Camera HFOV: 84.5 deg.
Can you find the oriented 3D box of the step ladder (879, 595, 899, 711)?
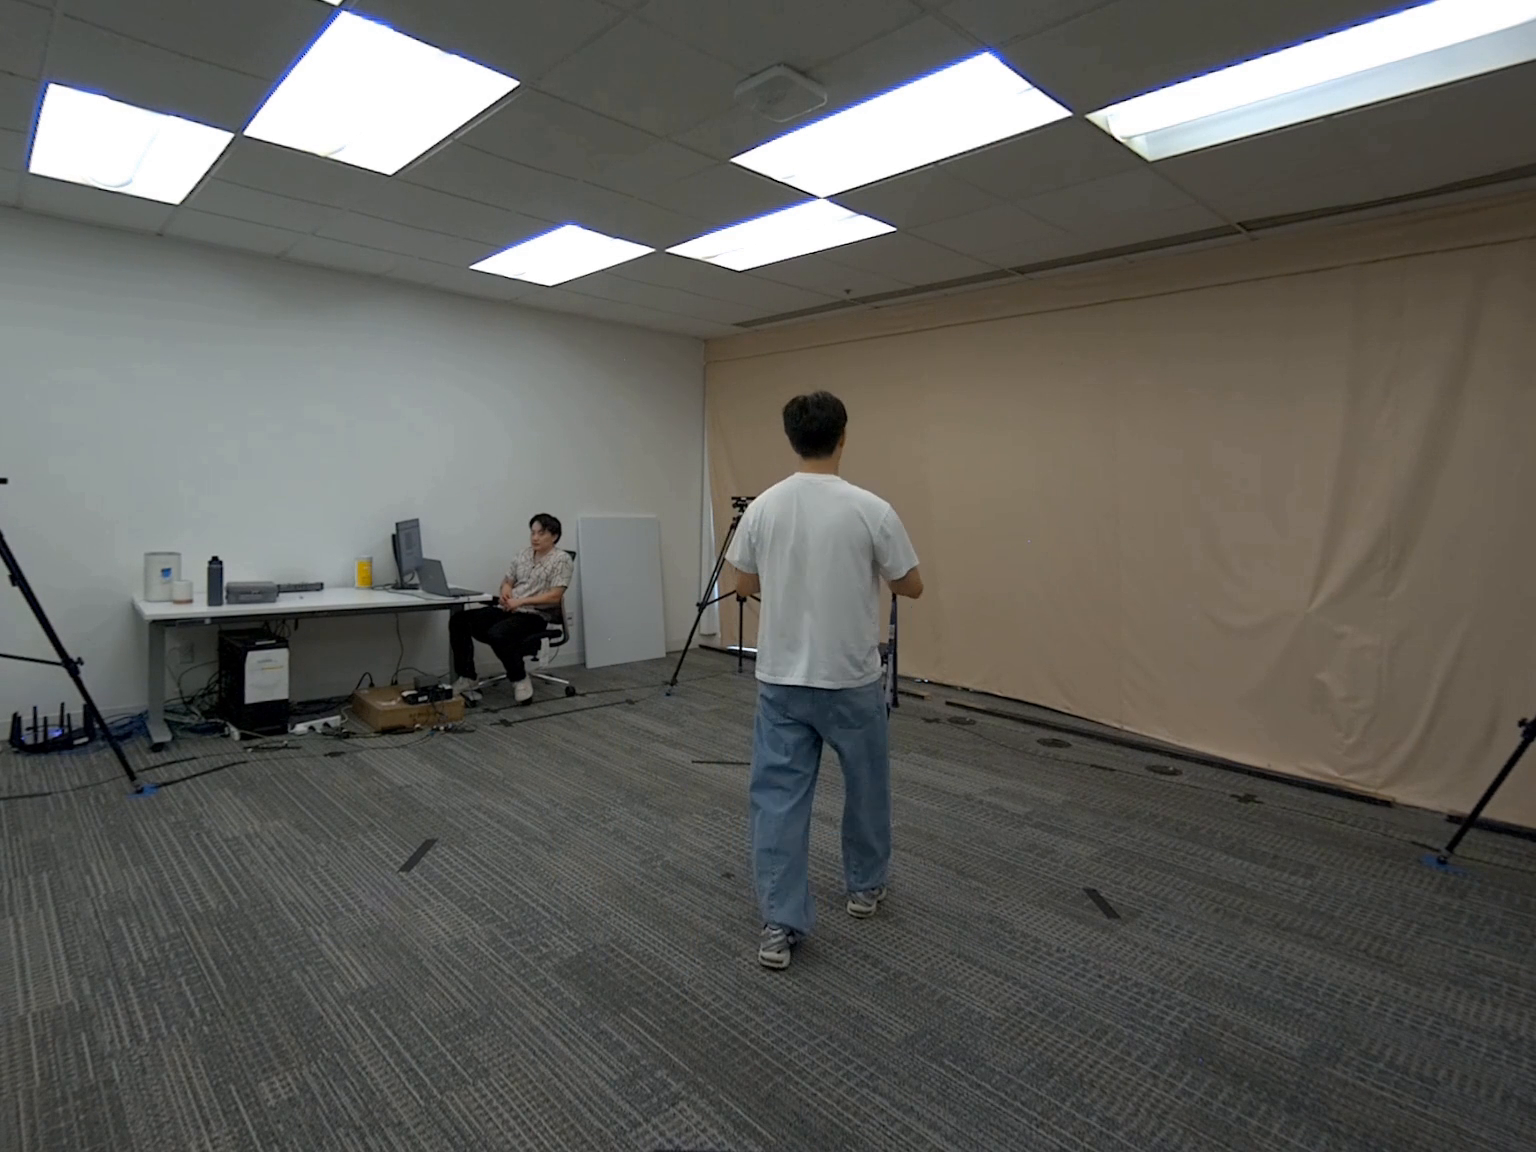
[{"bbox_3d":[0.251,0.207,3.071,0.437,0.602,0.346,2,8,17],"label":"step ladder"}]
